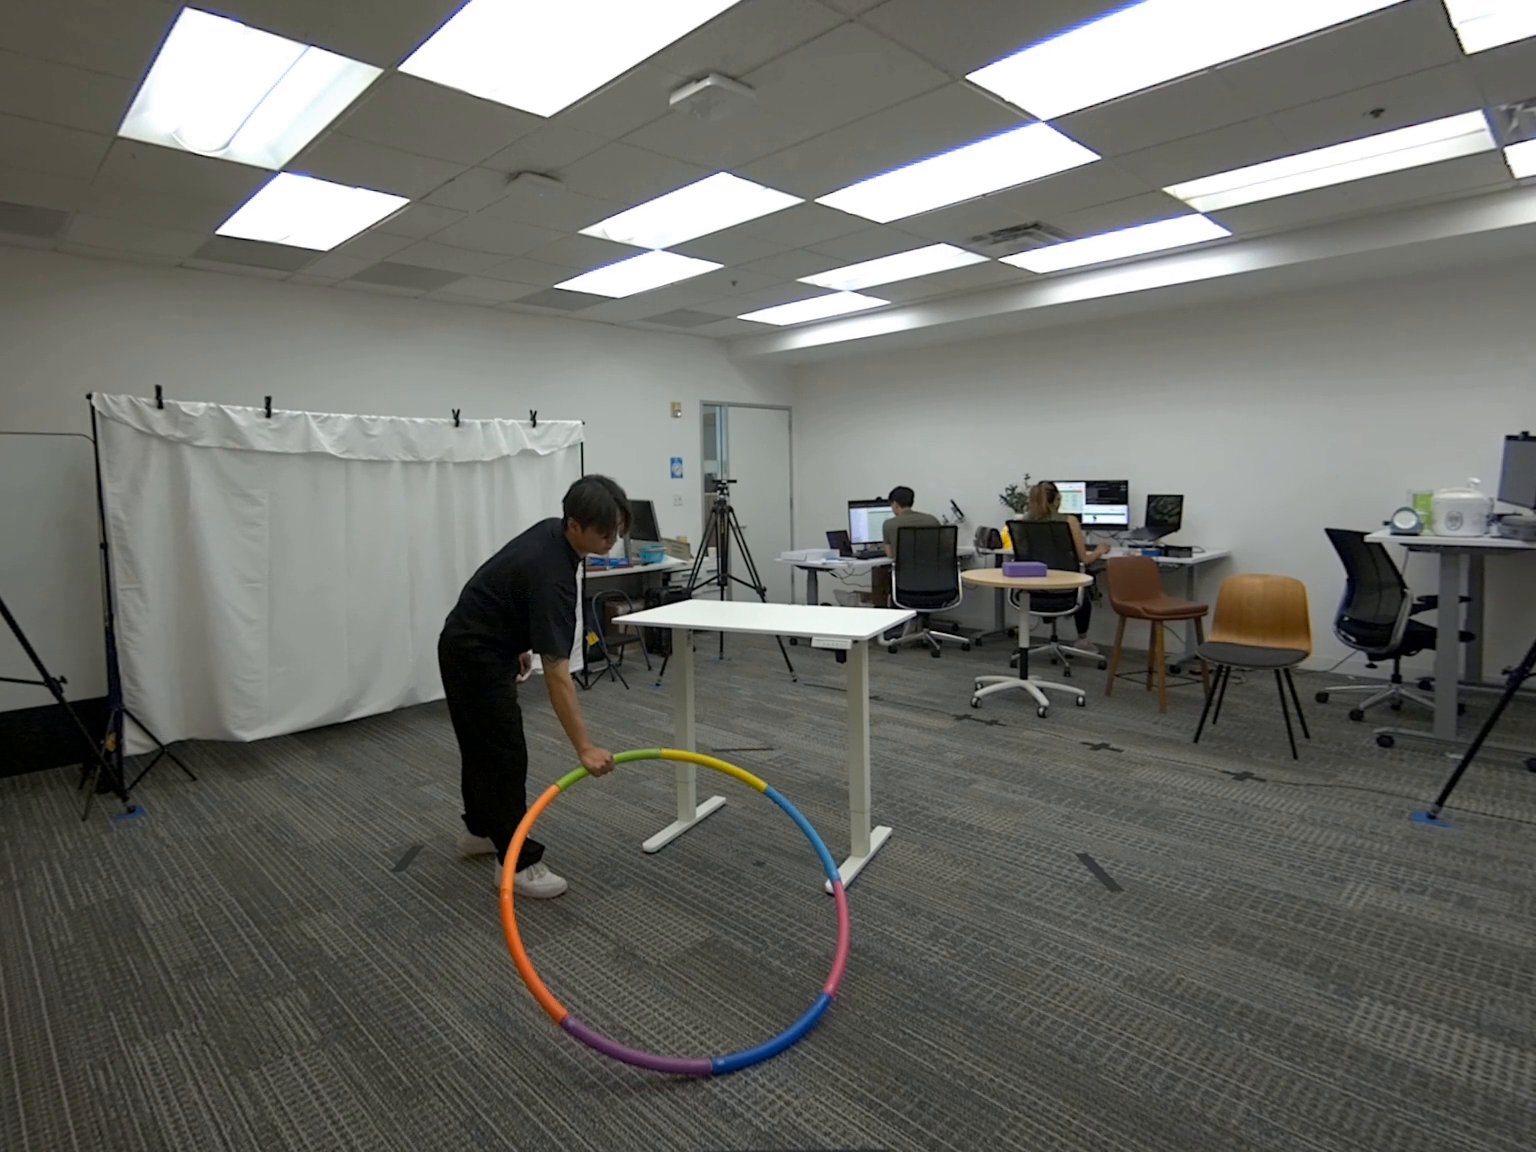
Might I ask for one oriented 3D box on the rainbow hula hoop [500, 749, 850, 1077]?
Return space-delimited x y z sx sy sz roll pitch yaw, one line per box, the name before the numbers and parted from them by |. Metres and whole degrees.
rainbow hula hoop | -0.232 0.864 2.401 0.971 0.035 1.004 10 33 -8
